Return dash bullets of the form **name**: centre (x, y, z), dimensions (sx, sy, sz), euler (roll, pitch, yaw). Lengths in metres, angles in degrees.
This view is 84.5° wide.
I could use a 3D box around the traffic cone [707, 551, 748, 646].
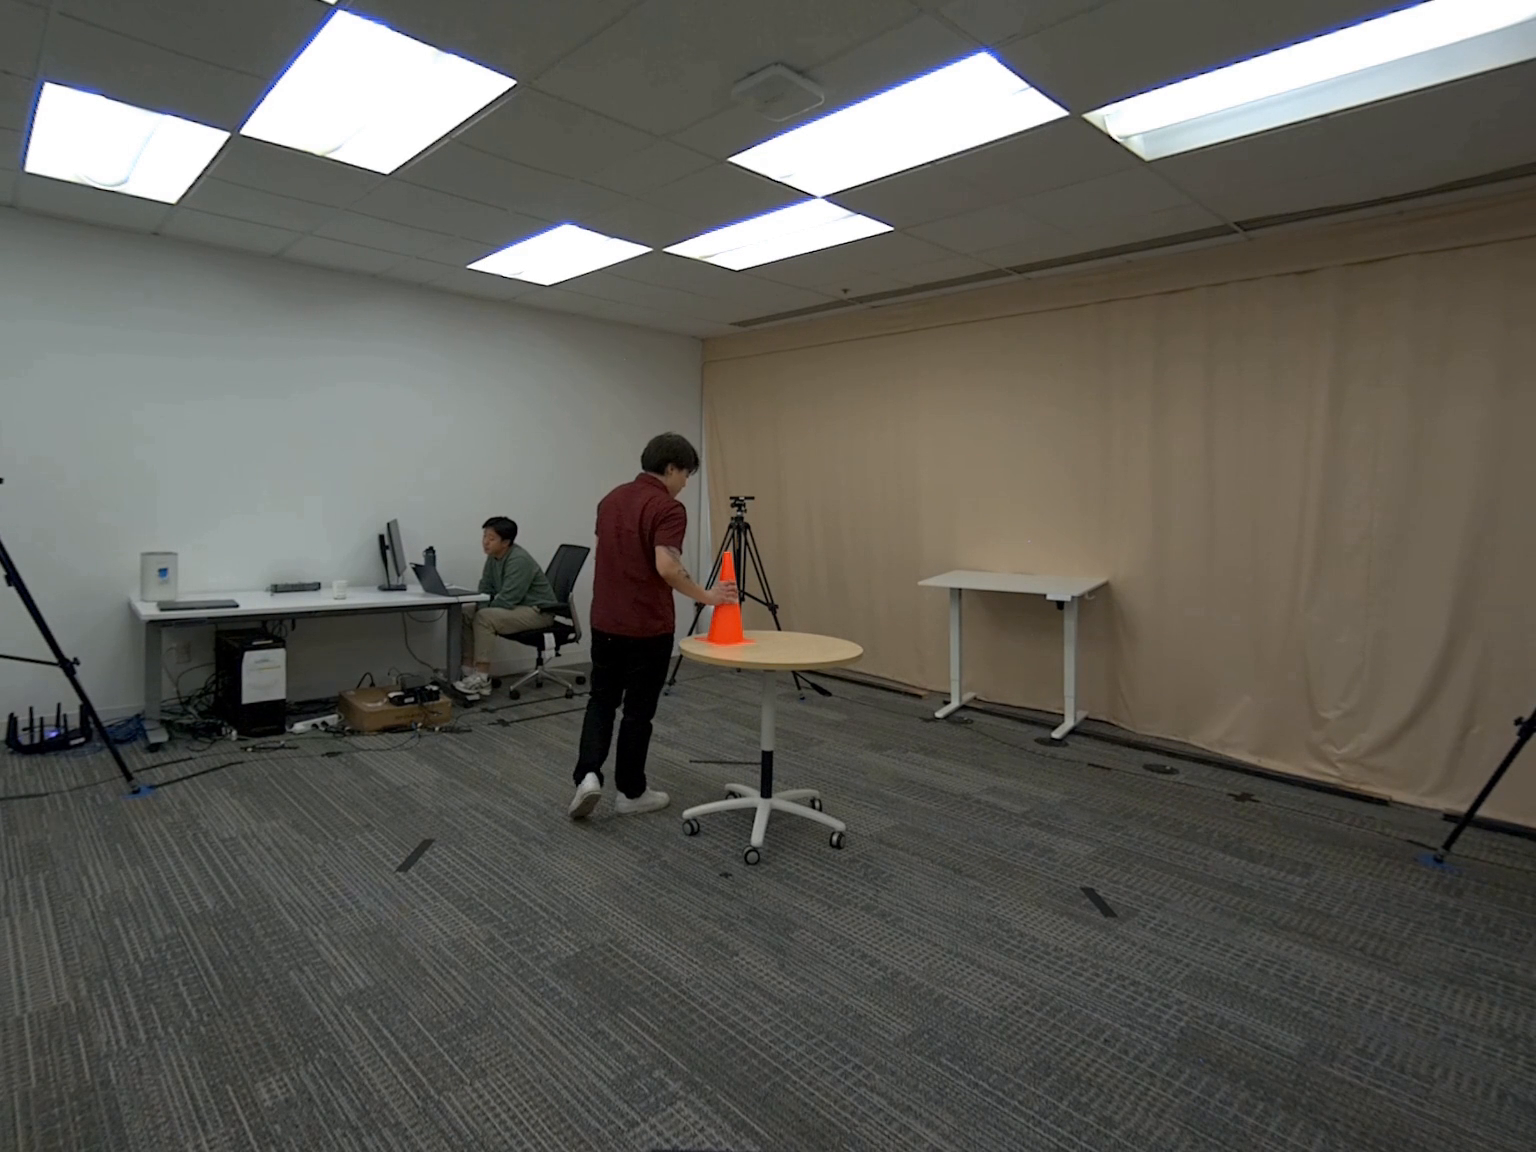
- **traffic cone**: centre (-0.184, 0.088, 3.597), dimensions (0.200, 0.383, 0.208), euler (2, 3, -43)
